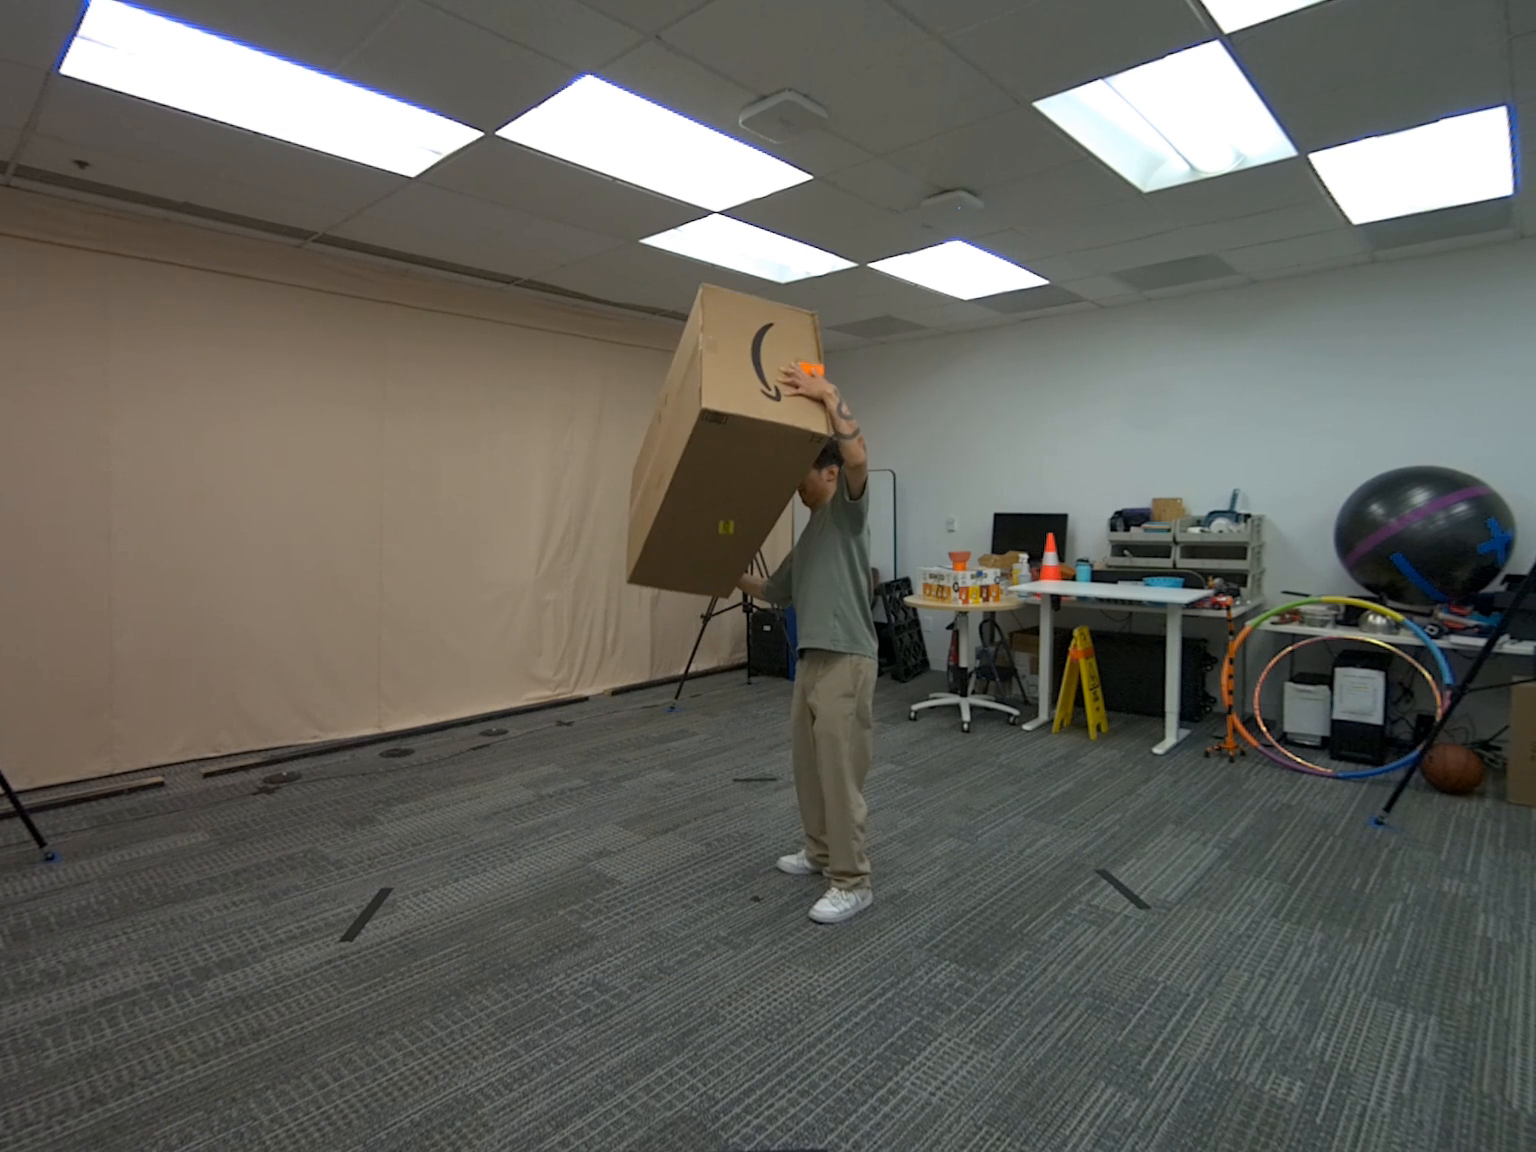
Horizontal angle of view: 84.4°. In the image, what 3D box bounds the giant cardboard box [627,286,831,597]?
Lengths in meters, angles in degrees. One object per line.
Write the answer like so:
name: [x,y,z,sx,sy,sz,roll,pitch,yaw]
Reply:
giant cardboard box: [-0.188,-0.434,3.102,0.418,0.588,1.026,10,-36,-18]
